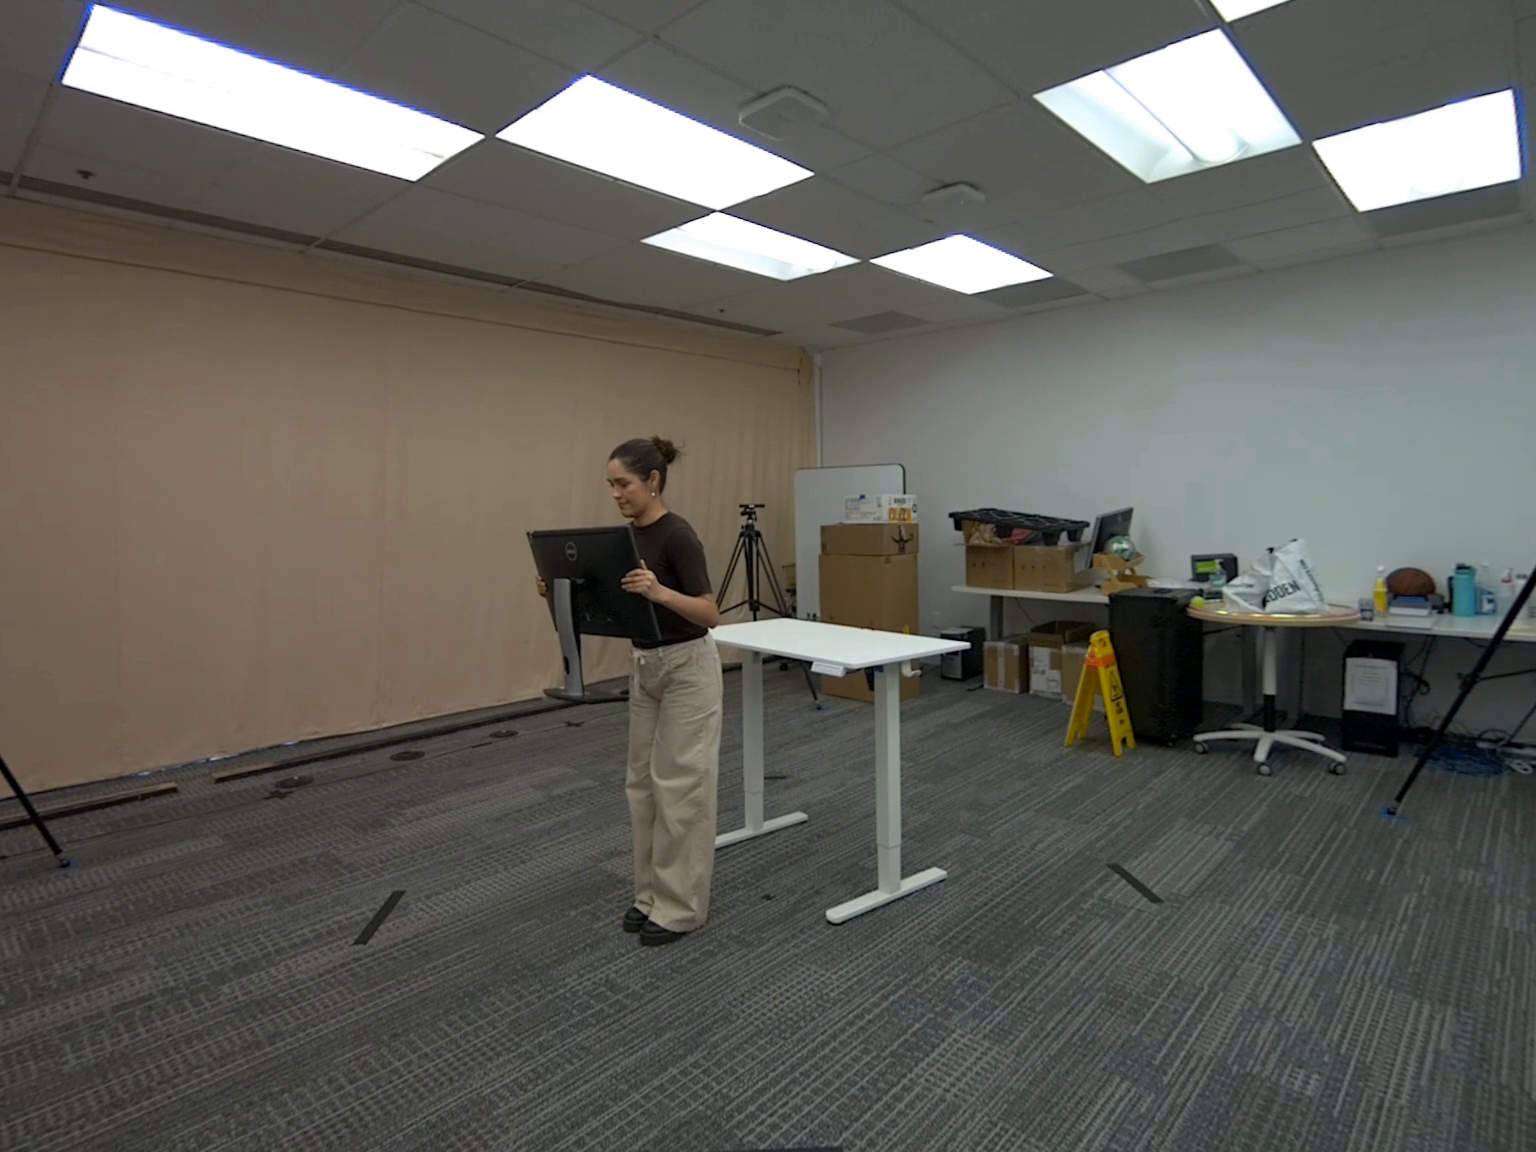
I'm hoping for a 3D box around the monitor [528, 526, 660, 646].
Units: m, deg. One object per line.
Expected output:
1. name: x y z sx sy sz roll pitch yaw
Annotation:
1. monitor: -0.567 0.117 2.584 0.556 0.522 0.181 -1 2 42
